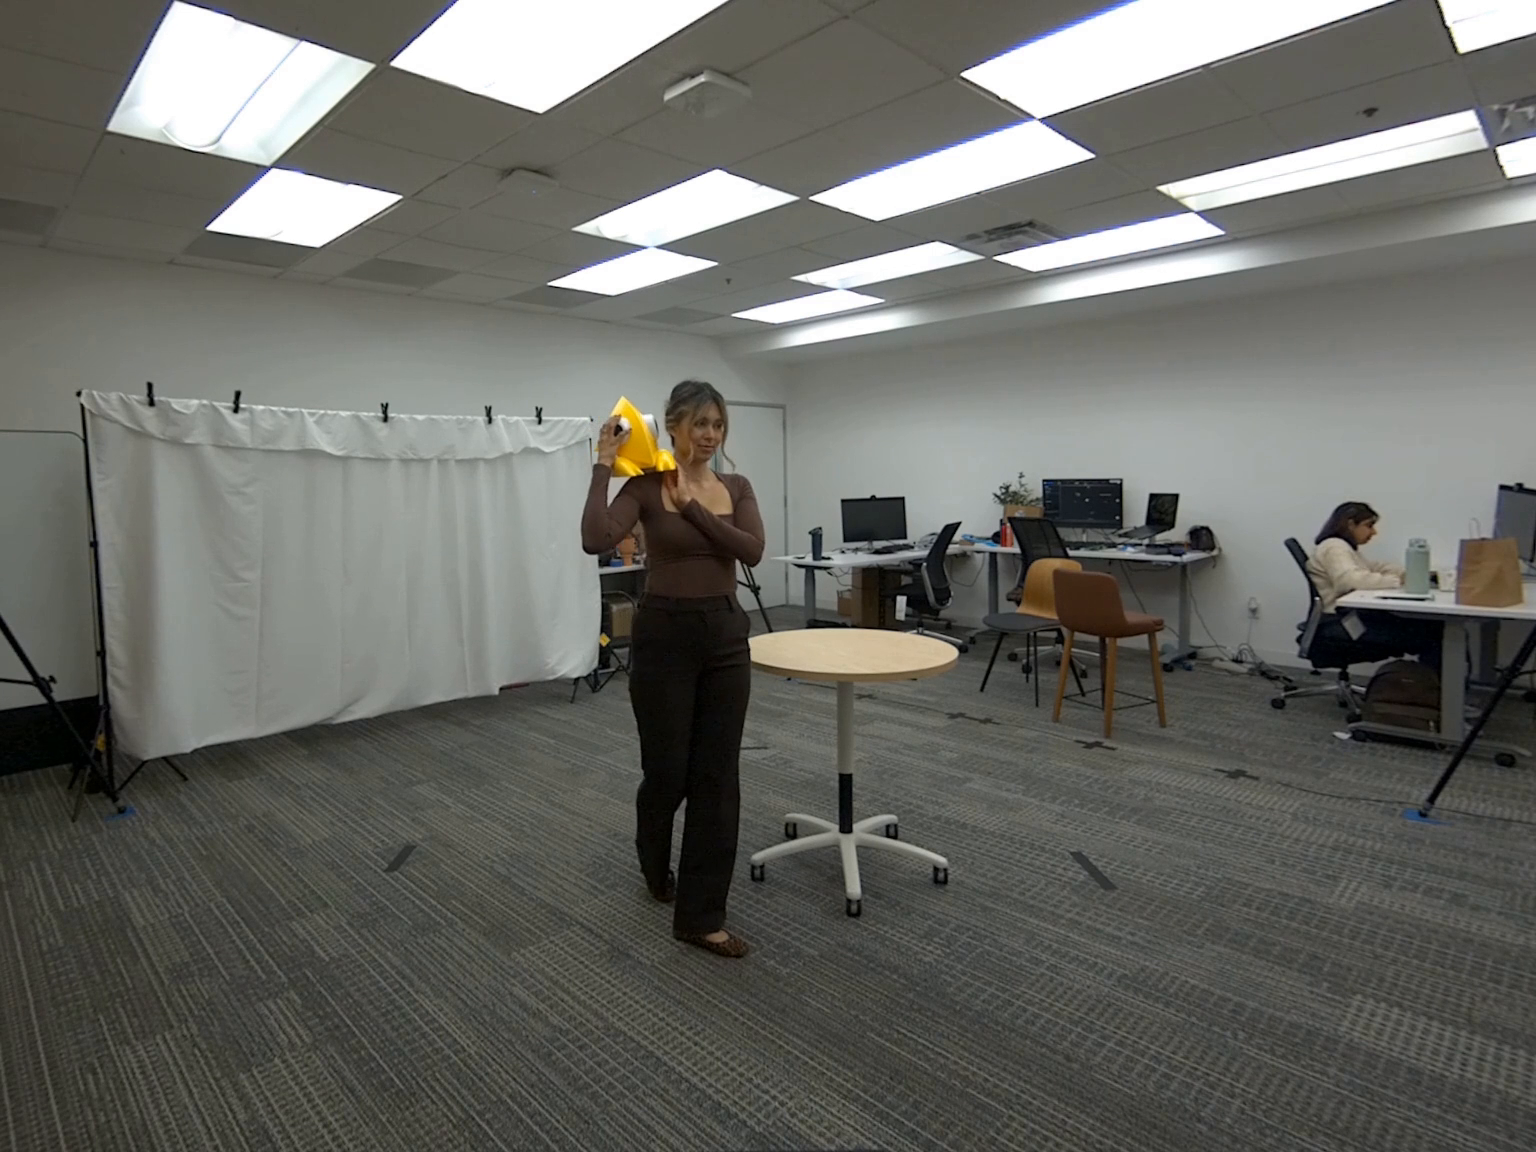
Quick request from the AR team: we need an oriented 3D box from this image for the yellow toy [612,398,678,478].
[{"bbox_3d":[-0.390,-0.424,2.549,0.201,0.228,0.199,-13,13,-33],"label":"yellow toy"}]
